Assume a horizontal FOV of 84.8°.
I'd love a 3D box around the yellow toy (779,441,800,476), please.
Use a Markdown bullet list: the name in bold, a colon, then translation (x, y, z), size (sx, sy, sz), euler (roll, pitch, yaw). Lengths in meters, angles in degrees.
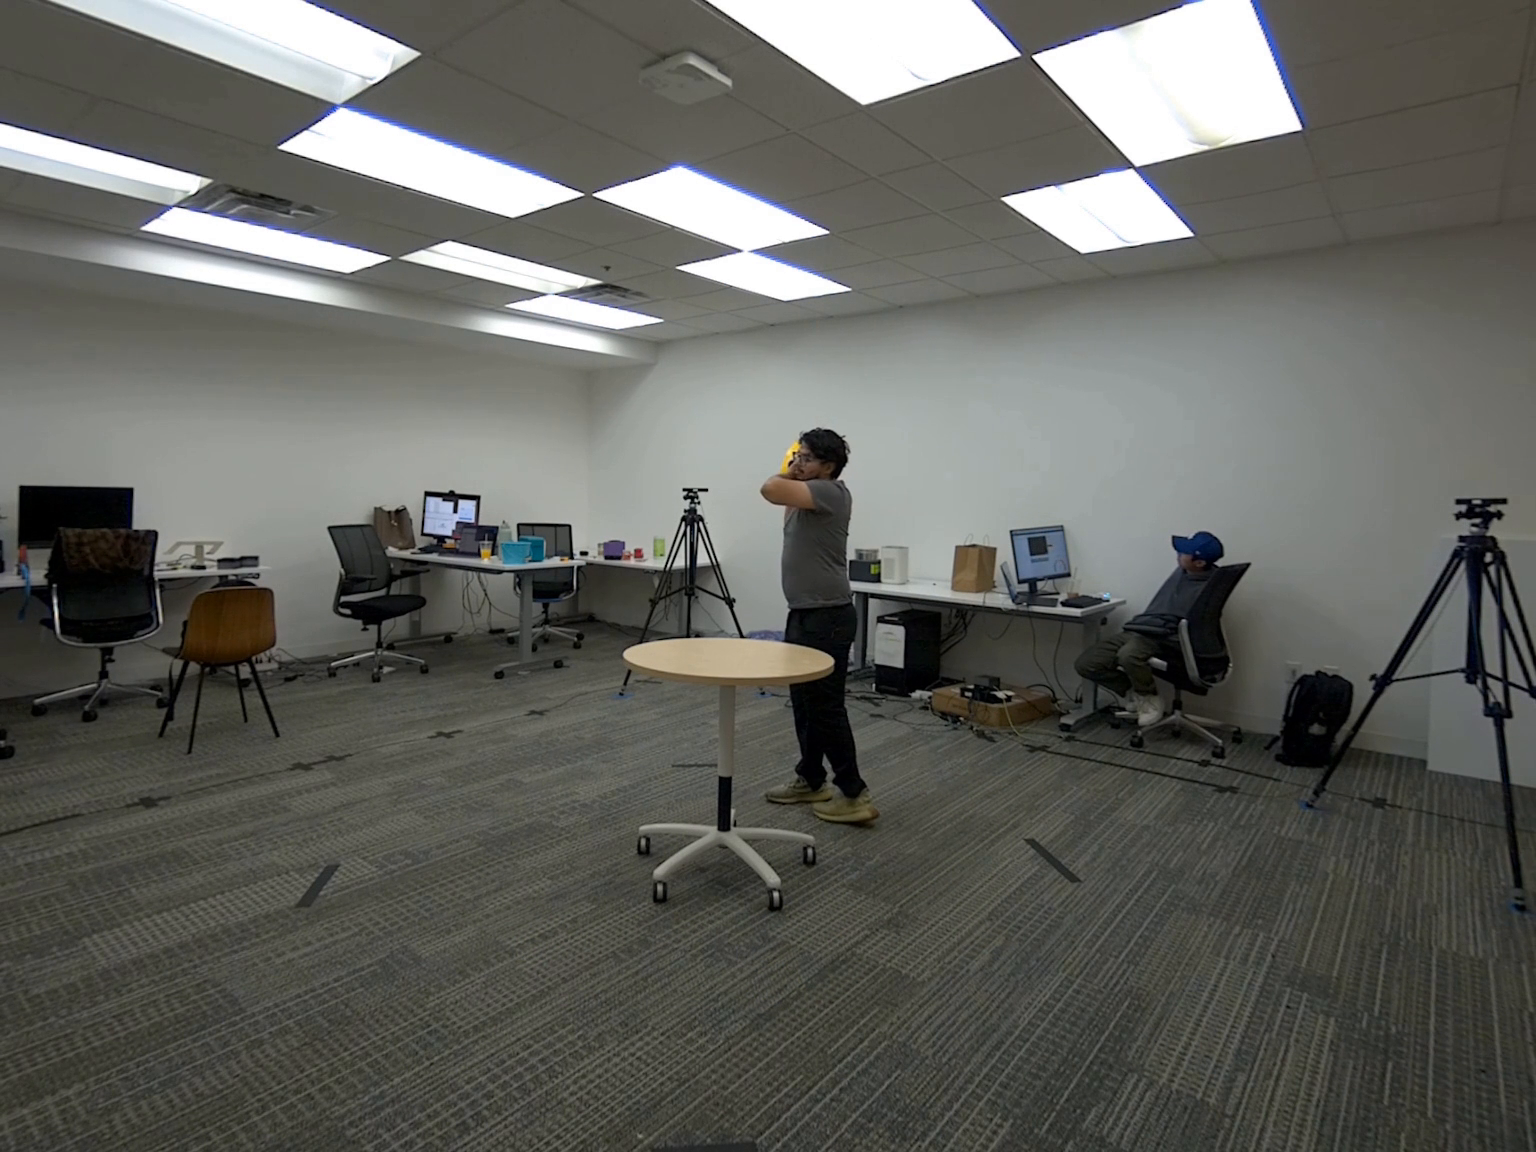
- **yellow toy**: translation (0.111, -0.495, 3.859), size (0.192, 0.228, 0.208), euler (-20, 9, -7)
